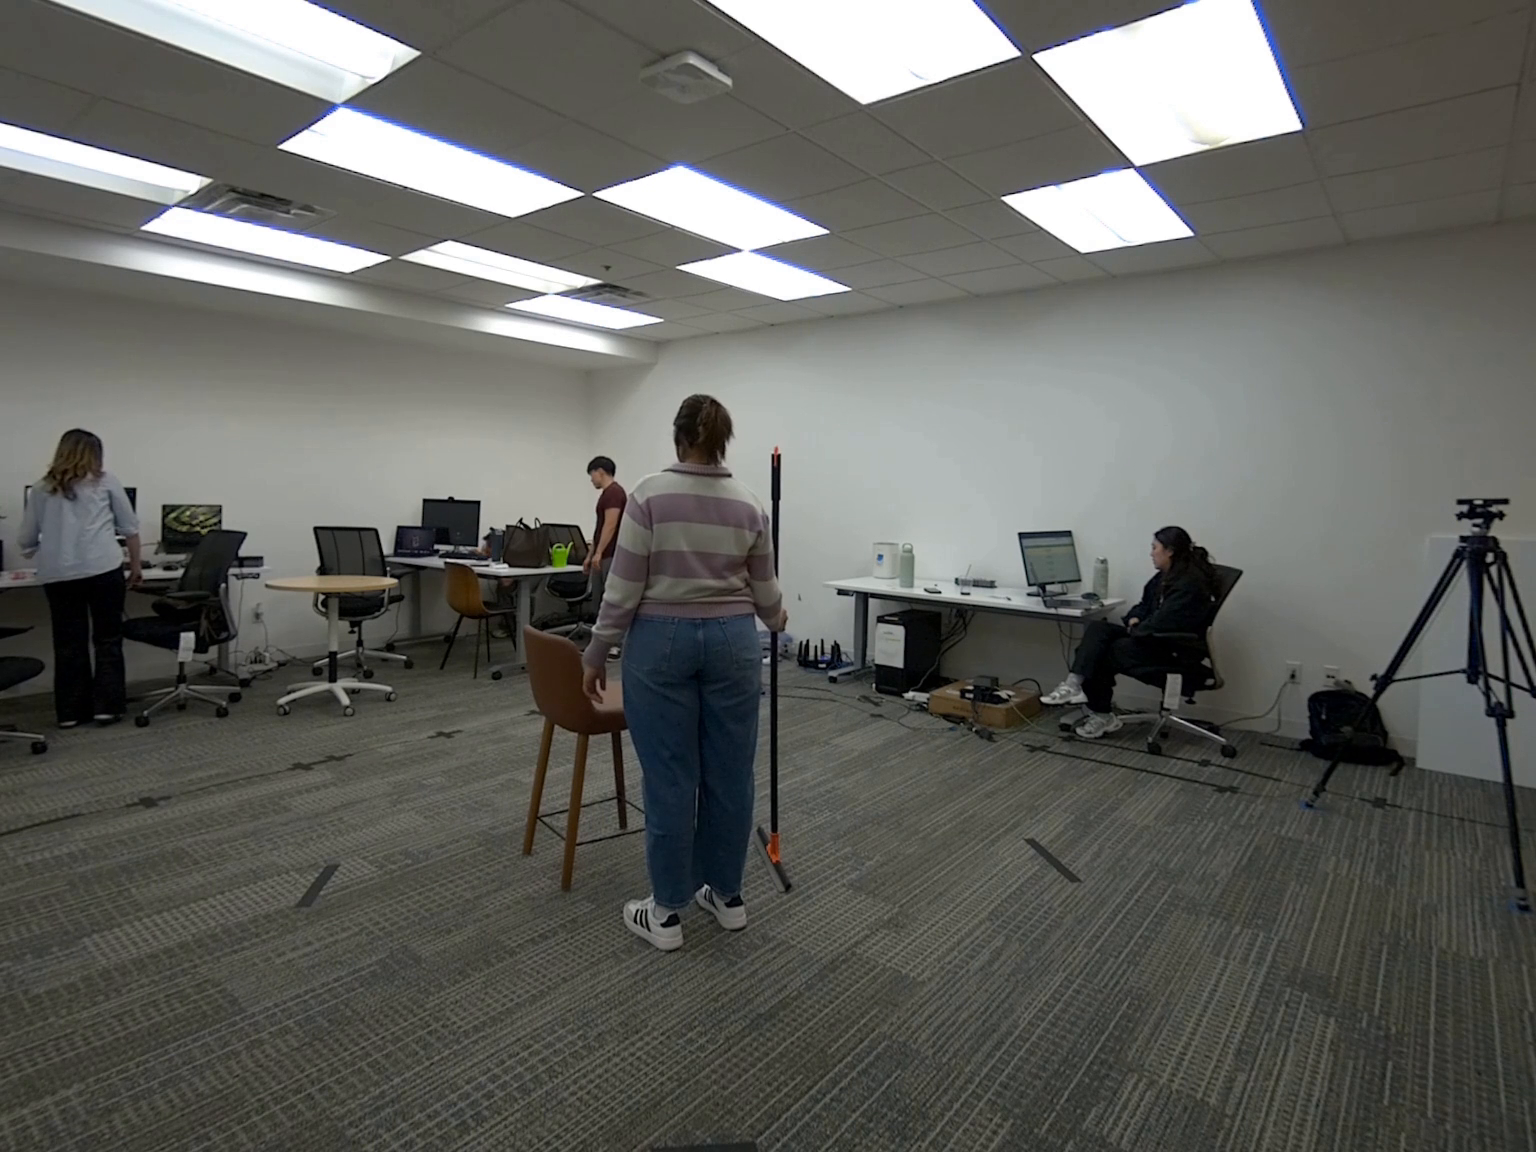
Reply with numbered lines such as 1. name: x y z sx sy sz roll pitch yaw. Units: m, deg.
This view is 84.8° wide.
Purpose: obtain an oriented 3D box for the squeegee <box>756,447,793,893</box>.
1. squeegee: 0.007 0.302 3.086 0.052 1.530 0.446 1 6 -15
